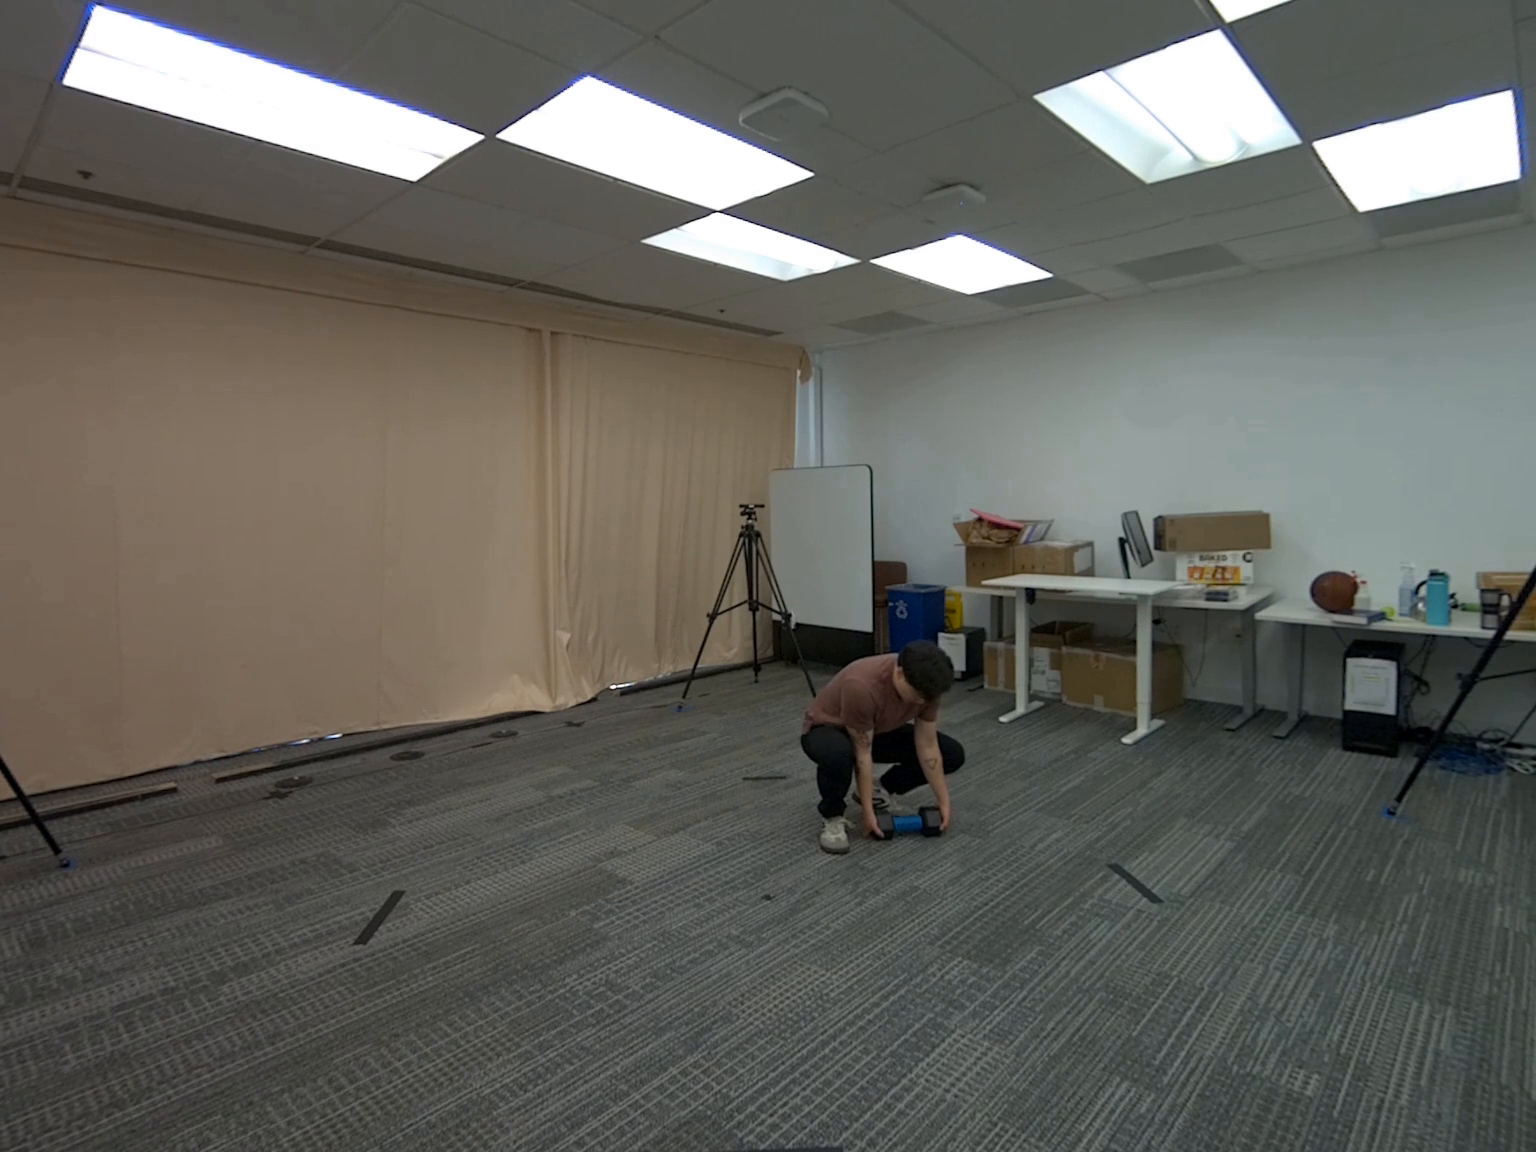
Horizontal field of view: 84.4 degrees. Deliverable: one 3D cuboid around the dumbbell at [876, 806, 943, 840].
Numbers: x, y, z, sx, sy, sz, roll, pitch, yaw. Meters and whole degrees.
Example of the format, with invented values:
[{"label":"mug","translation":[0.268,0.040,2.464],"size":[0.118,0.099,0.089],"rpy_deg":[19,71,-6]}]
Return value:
[{"label":"dumbbell","translation":[0.572,1.023,3.514],"size":[0.291,0.109,0.123],"rpy_deg":[-3,-2,-7]}]
